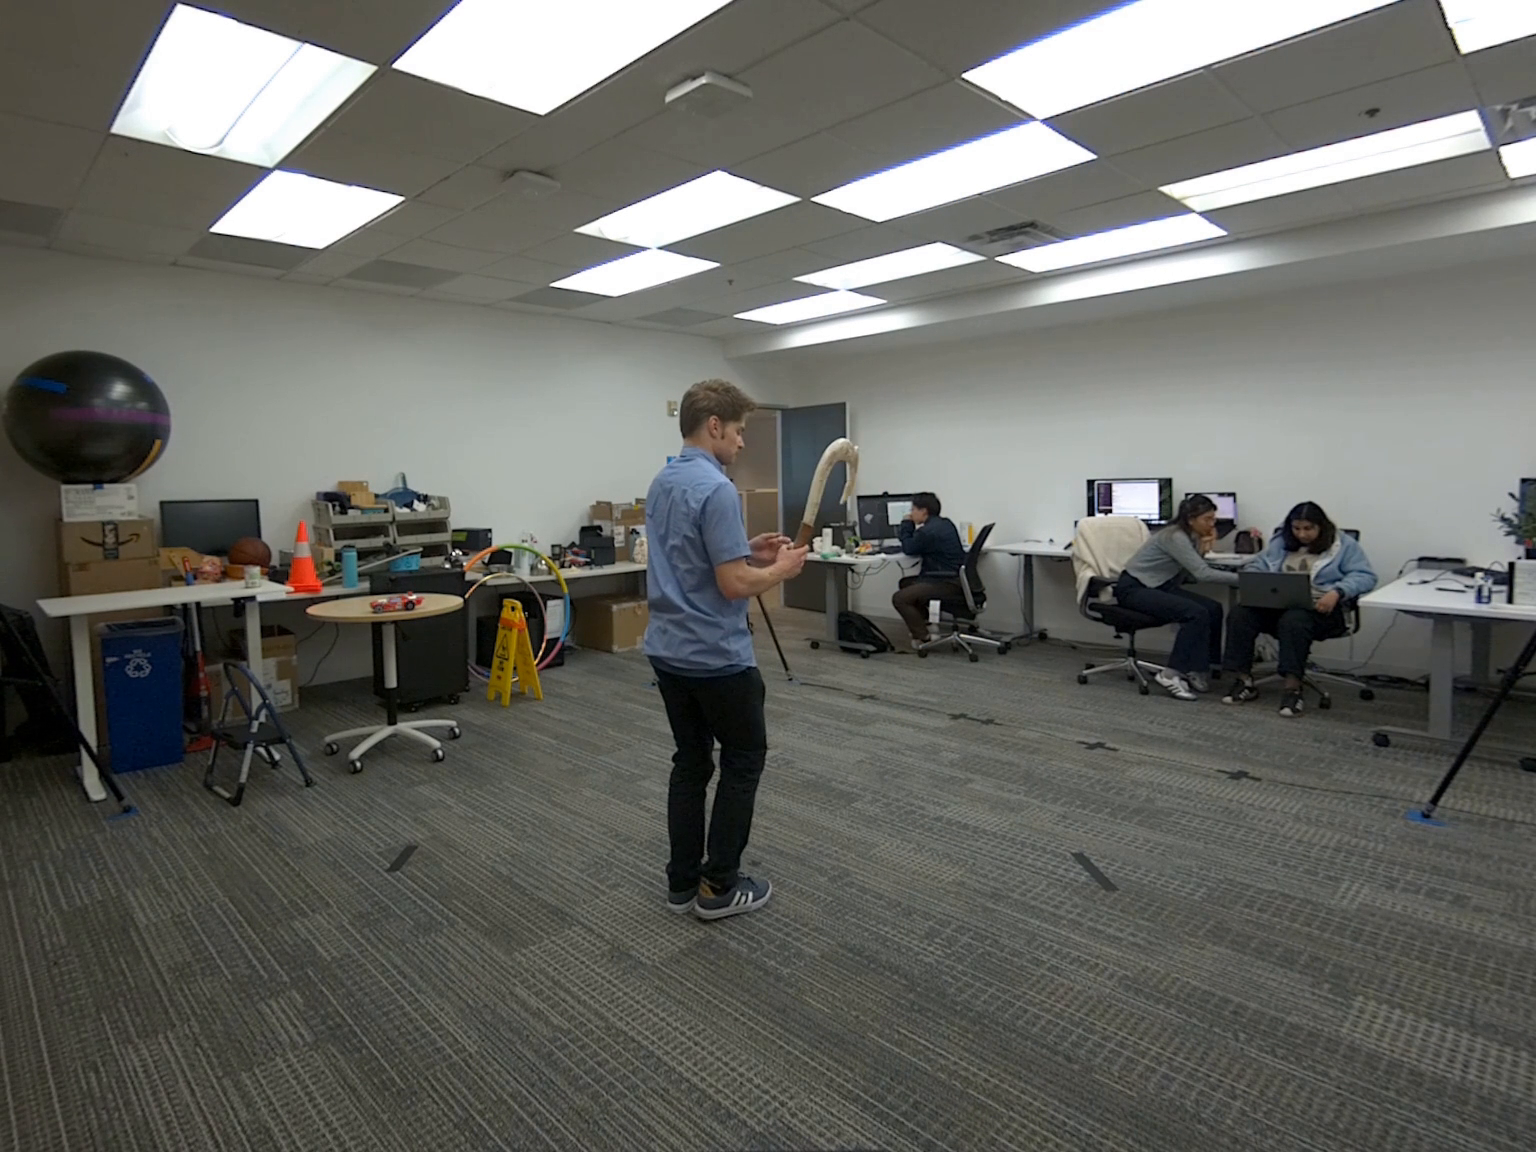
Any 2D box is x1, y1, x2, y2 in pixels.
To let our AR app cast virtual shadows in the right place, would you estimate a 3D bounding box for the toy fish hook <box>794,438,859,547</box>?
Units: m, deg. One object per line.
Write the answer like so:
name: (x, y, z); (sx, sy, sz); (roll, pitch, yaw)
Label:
toy fish hook: (0.191, -0.204, 2.824); (0.050, 0.507, 0.216); (21, -2, 44)
